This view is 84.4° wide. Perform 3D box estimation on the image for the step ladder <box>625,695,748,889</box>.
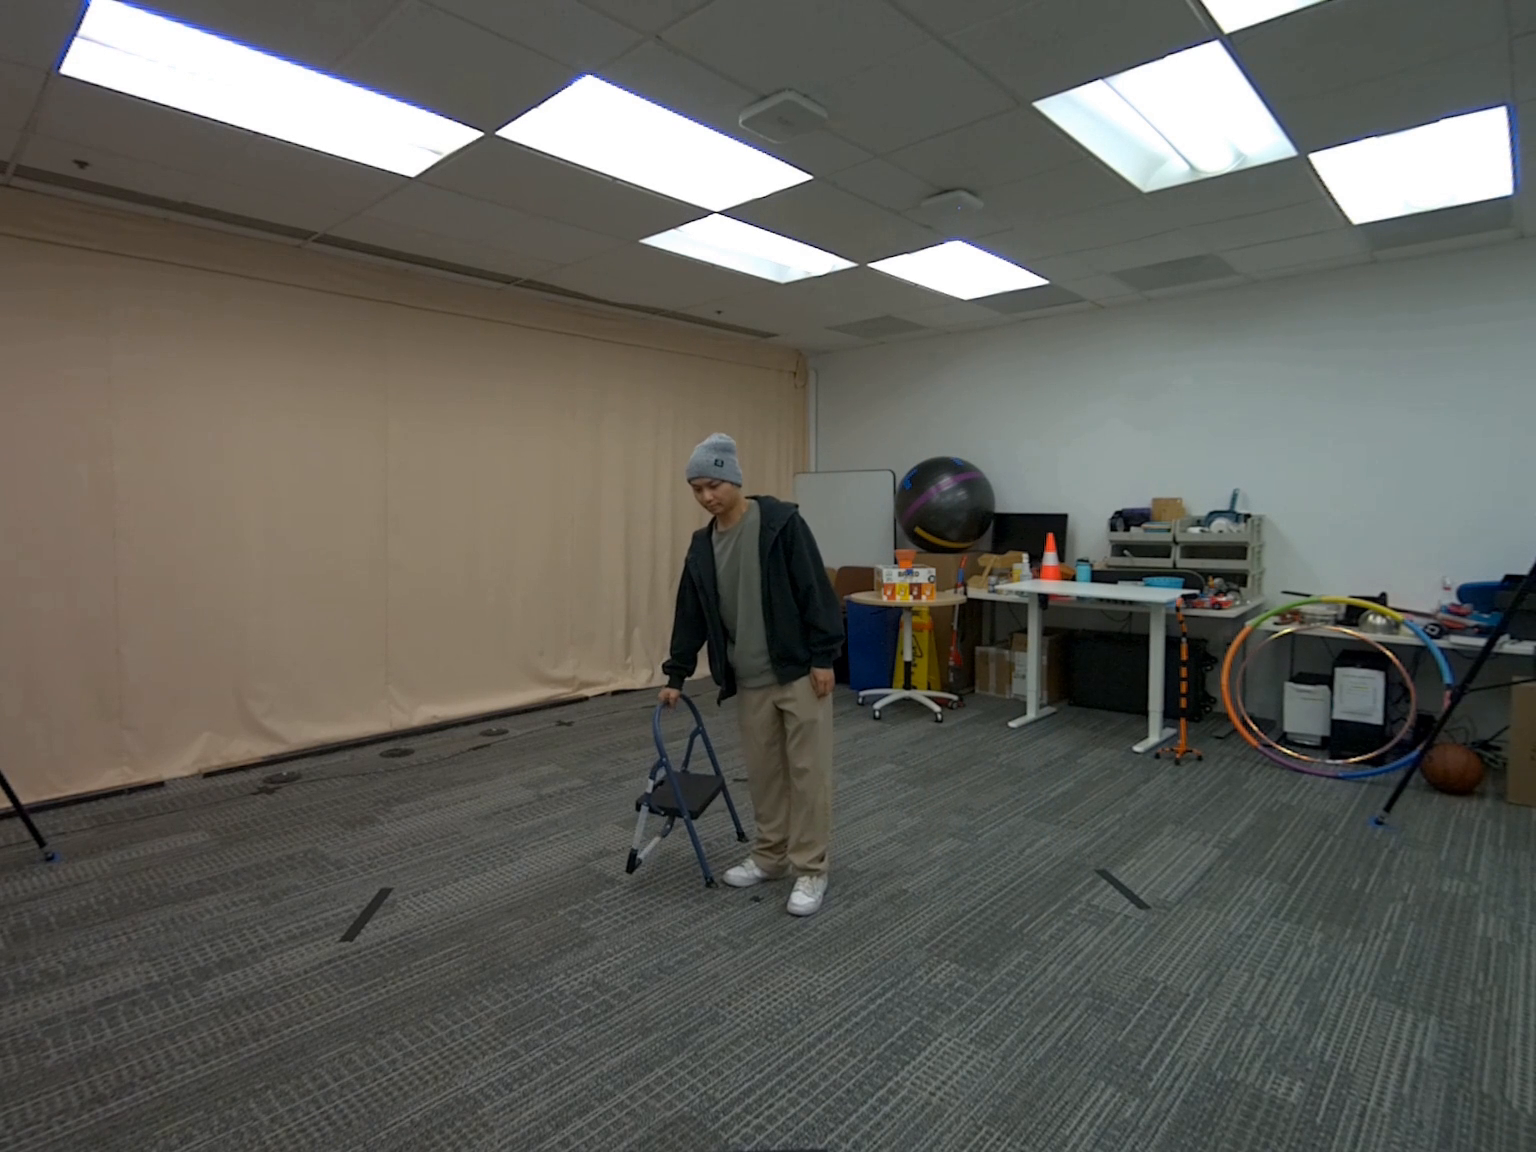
[{"bbox_3d":[-0.300,0.763,3.163,0.356,0.604,0.424,2,5,16],"label":"step ladder"}]
